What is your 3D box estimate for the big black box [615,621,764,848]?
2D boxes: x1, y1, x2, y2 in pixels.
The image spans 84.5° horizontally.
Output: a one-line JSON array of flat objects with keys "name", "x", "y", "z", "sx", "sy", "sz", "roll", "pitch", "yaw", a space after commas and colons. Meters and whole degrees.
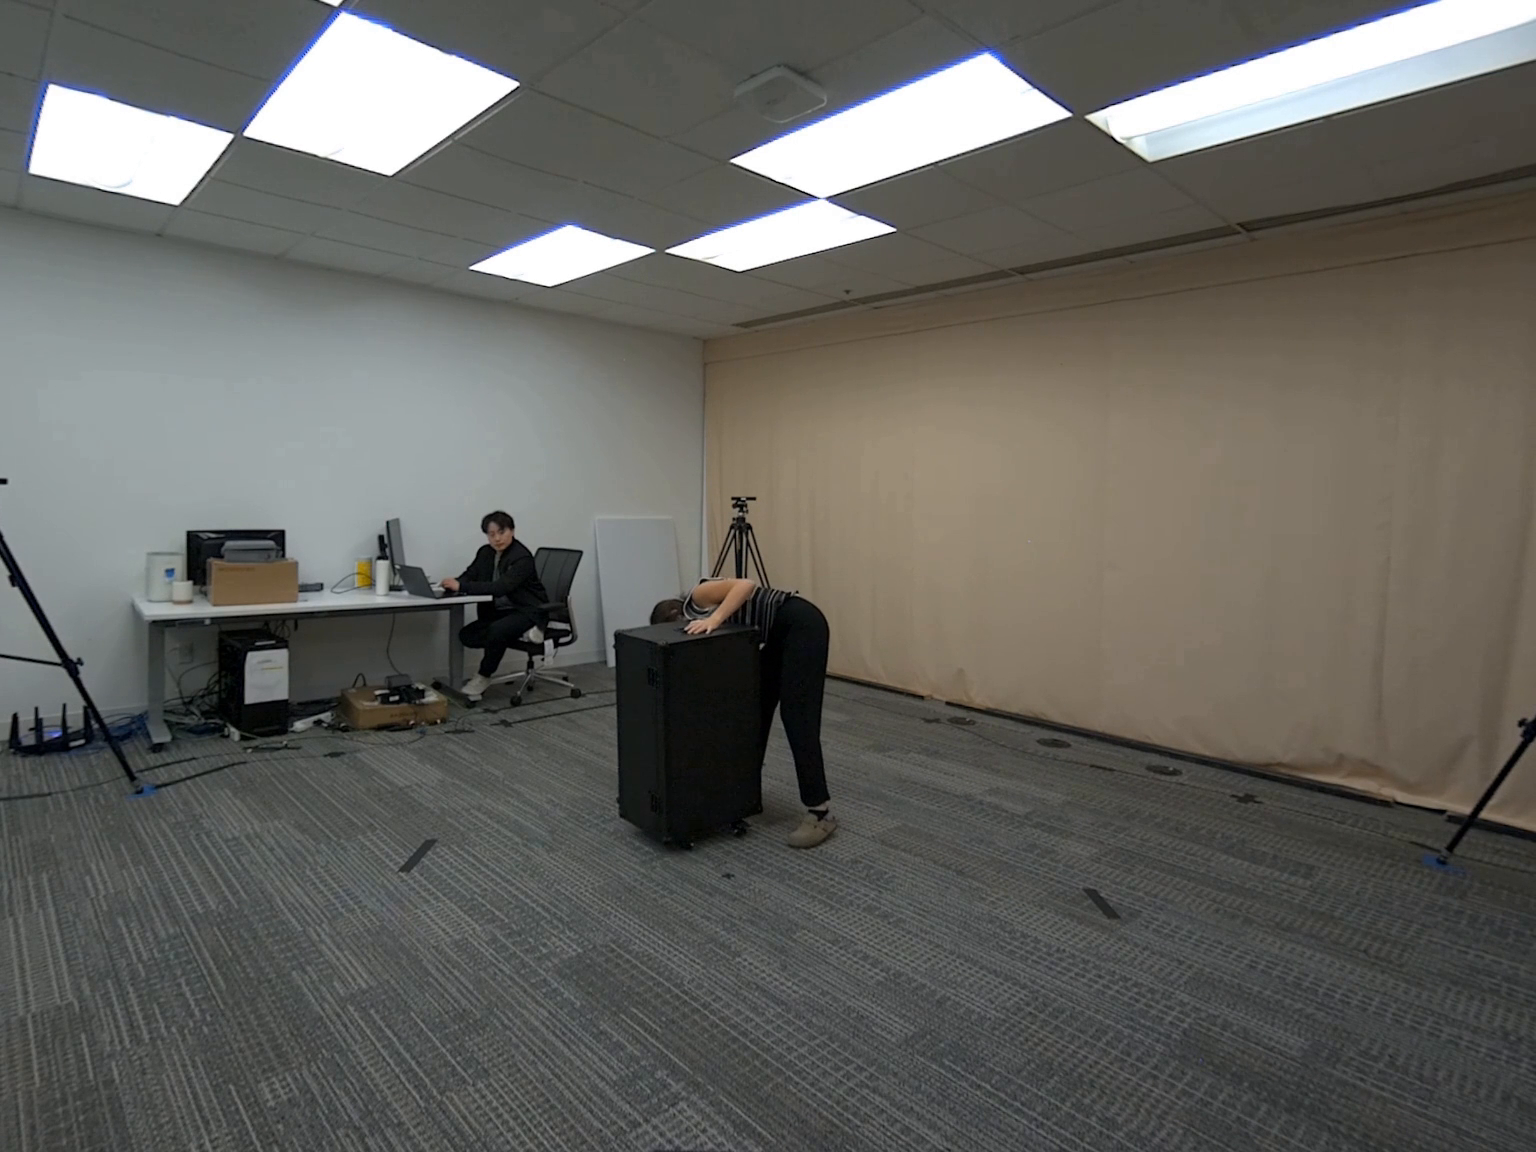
[{"name": "big black box", "x": -0.341, "y": 0.645, "z": 3.461, "sx": 0.510, "sy": 0.858, "sz": 0.406, "roll": -6, "pitch": 6, "yaw": -39}]
